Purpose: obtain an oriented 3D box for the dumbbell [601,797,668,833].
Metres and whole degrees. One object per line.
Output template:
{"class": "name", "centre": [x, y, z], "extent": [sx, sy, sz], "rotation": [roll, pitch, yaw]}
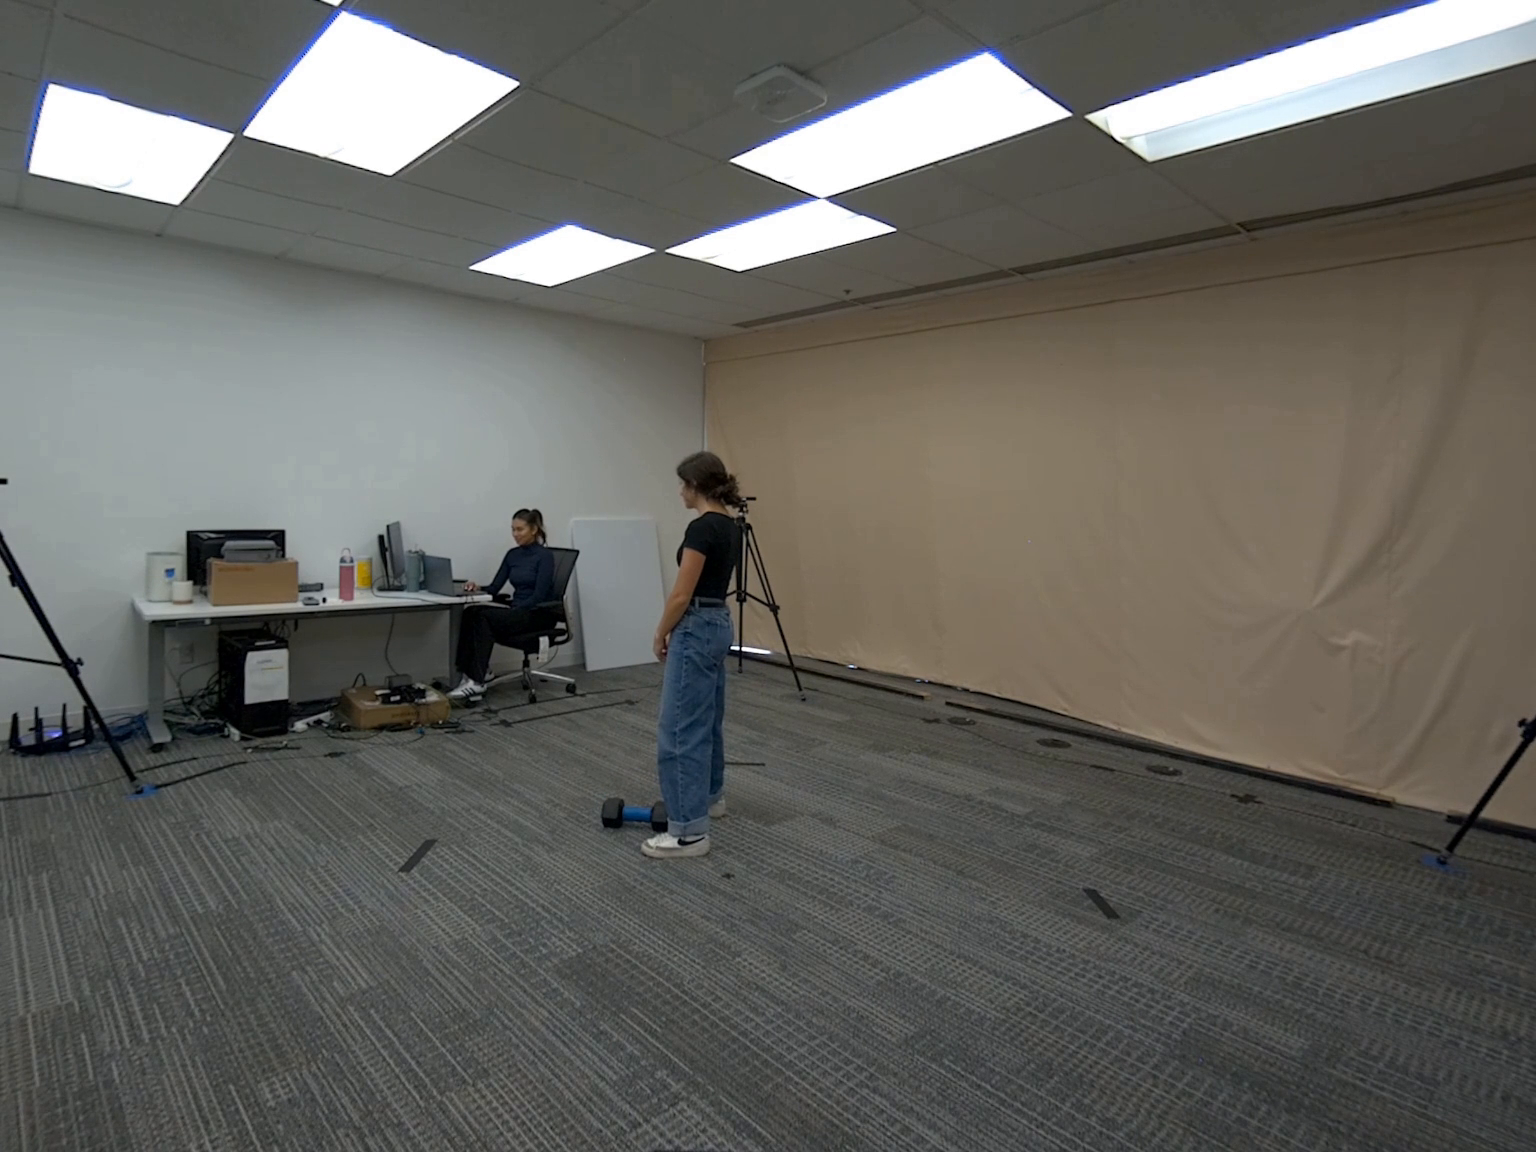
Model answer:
{"class": "dumbbell", "centre": [-0.556, 1.006, 3.538], "extent": [0.295, 0.120, 0.110], "rotation": [2, 35, 7]}
